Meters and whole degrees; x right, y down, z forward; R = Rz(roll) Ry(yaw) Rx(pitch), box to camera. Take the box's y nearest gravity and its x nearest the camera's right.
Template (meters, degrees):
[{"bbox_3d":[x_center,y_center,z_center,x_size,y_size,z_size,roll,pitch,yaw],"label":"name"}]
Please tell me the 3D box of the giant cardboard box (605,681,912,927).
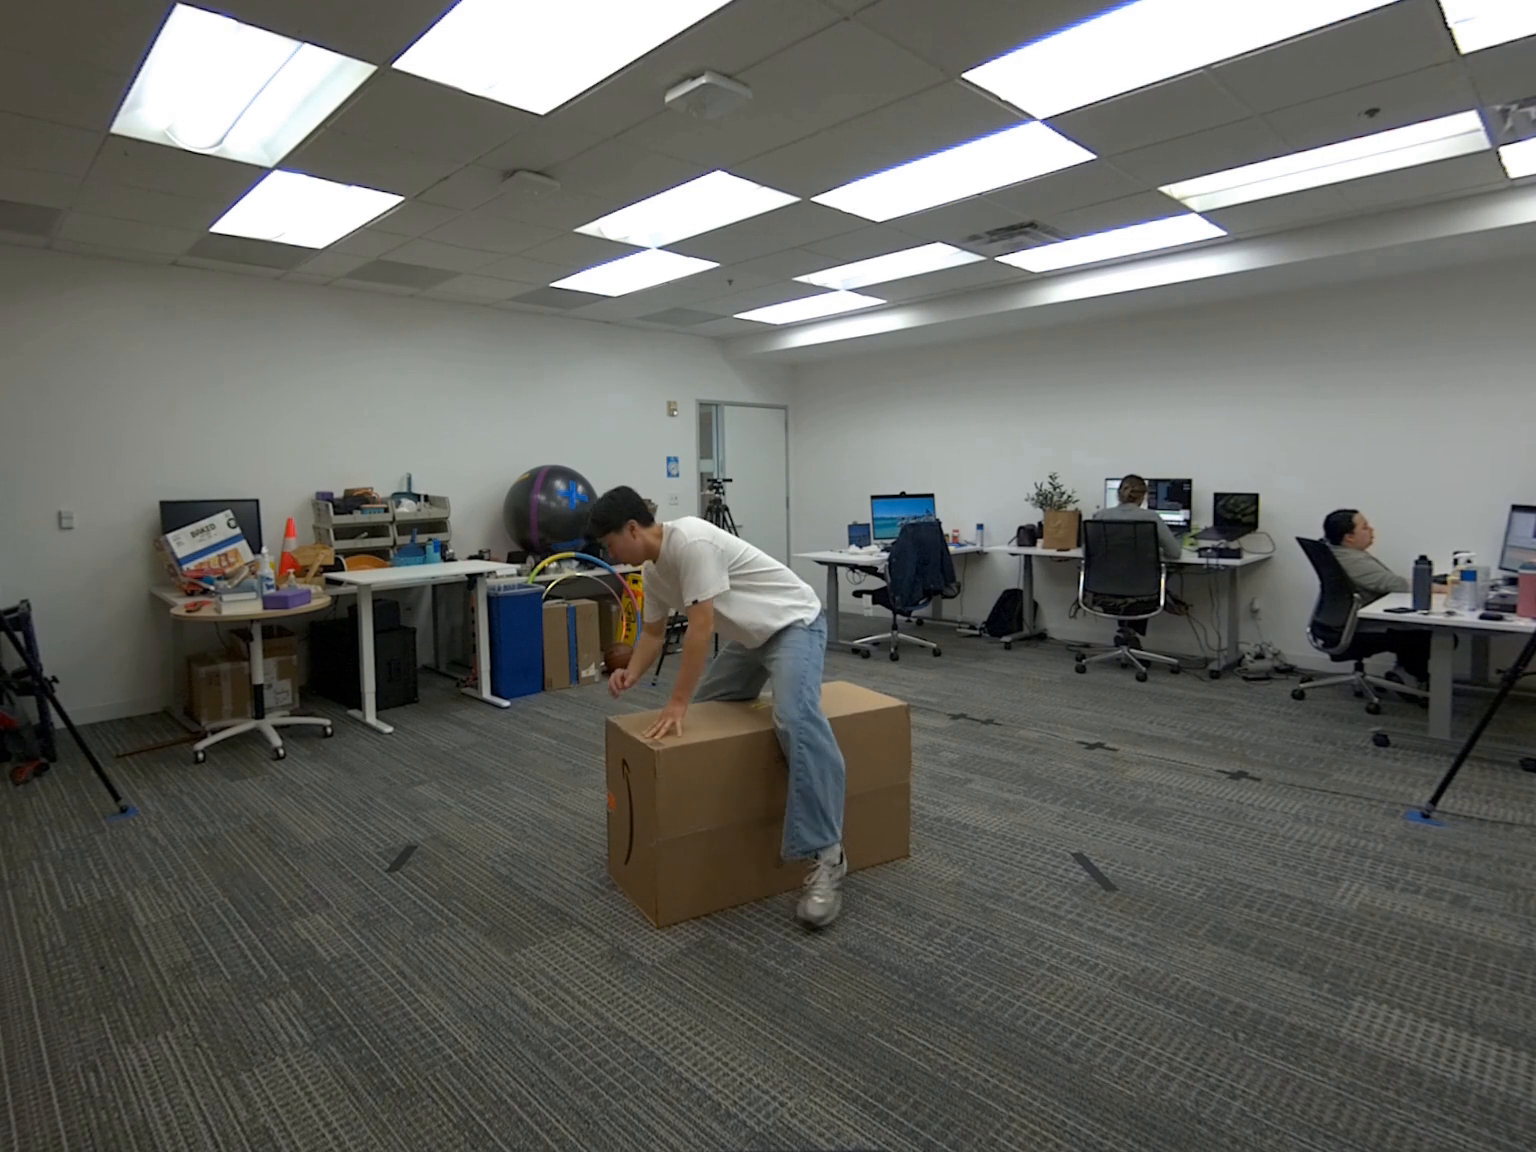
[{"bbox_3d":[-0.023,0.762,3.067,1.002,0.575,0.438,-4,6,-29],"label":"giant cardboard box"}]
